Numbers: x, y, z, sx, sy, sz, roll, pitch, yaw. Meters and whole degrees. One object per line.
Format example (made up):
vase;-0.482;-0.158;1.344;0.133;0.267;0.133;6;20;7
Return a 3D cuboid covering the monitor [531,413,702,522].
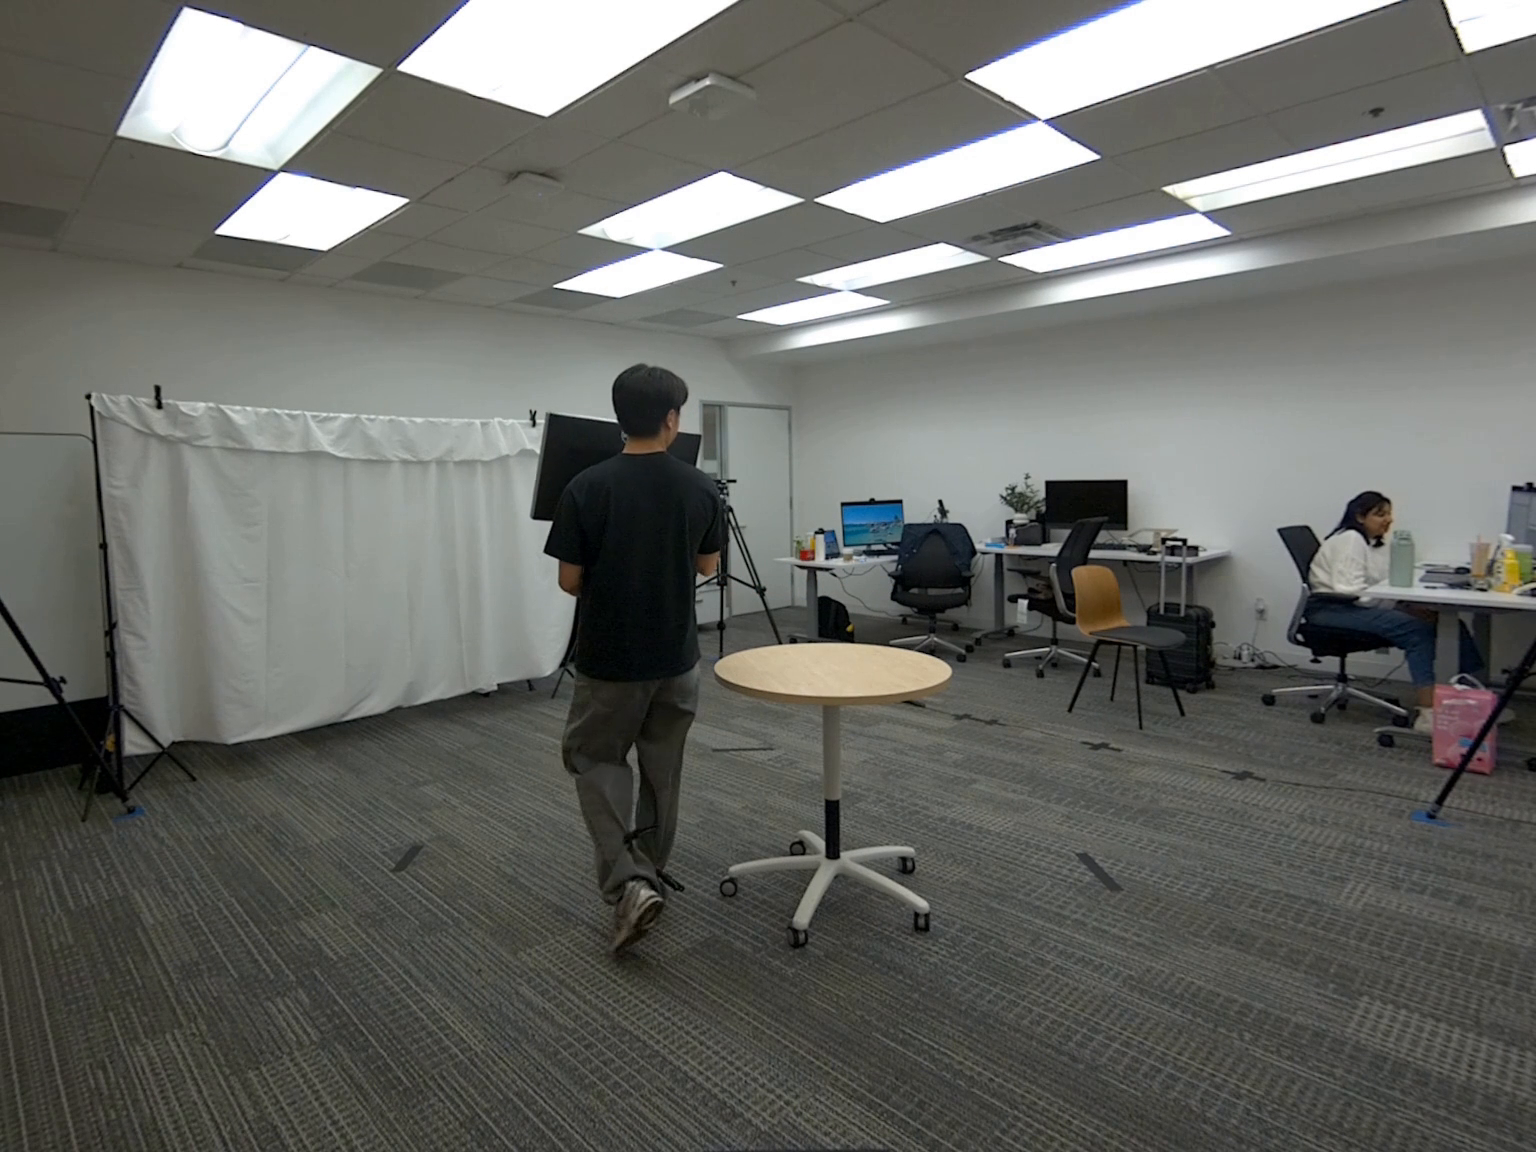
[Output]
monitor;-0.496;-0.235;2.883;0.548;0.567;0.227;4;-1;-26
